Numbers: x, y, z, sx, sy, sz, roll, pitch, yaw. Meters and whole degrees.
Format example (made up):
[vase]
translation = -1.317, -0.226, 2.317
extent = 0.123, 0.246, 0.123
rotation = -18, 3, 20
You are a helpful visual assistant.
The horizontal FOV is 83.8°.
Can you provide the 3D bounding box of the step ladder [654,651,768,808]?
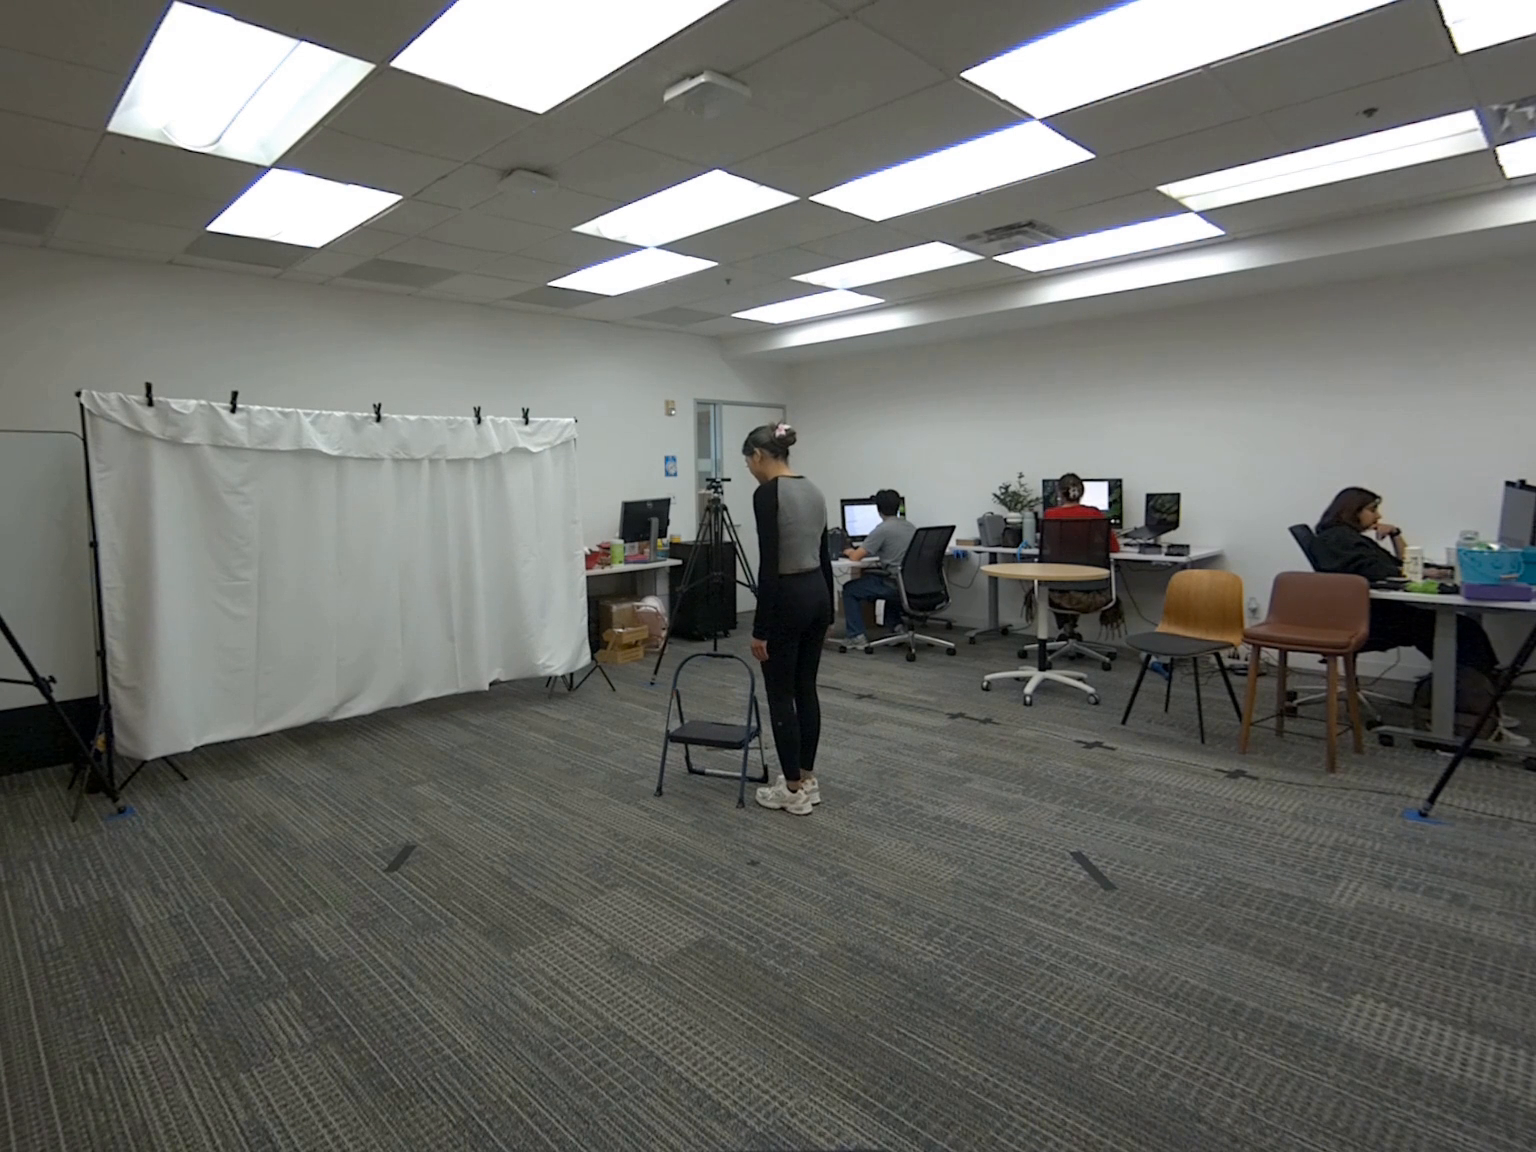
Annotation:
[step ladder]
translation = -0.251, 0.660, 3.844
extent = 0.440, 0.604, 0.343
rotation = 1, 5, 23
